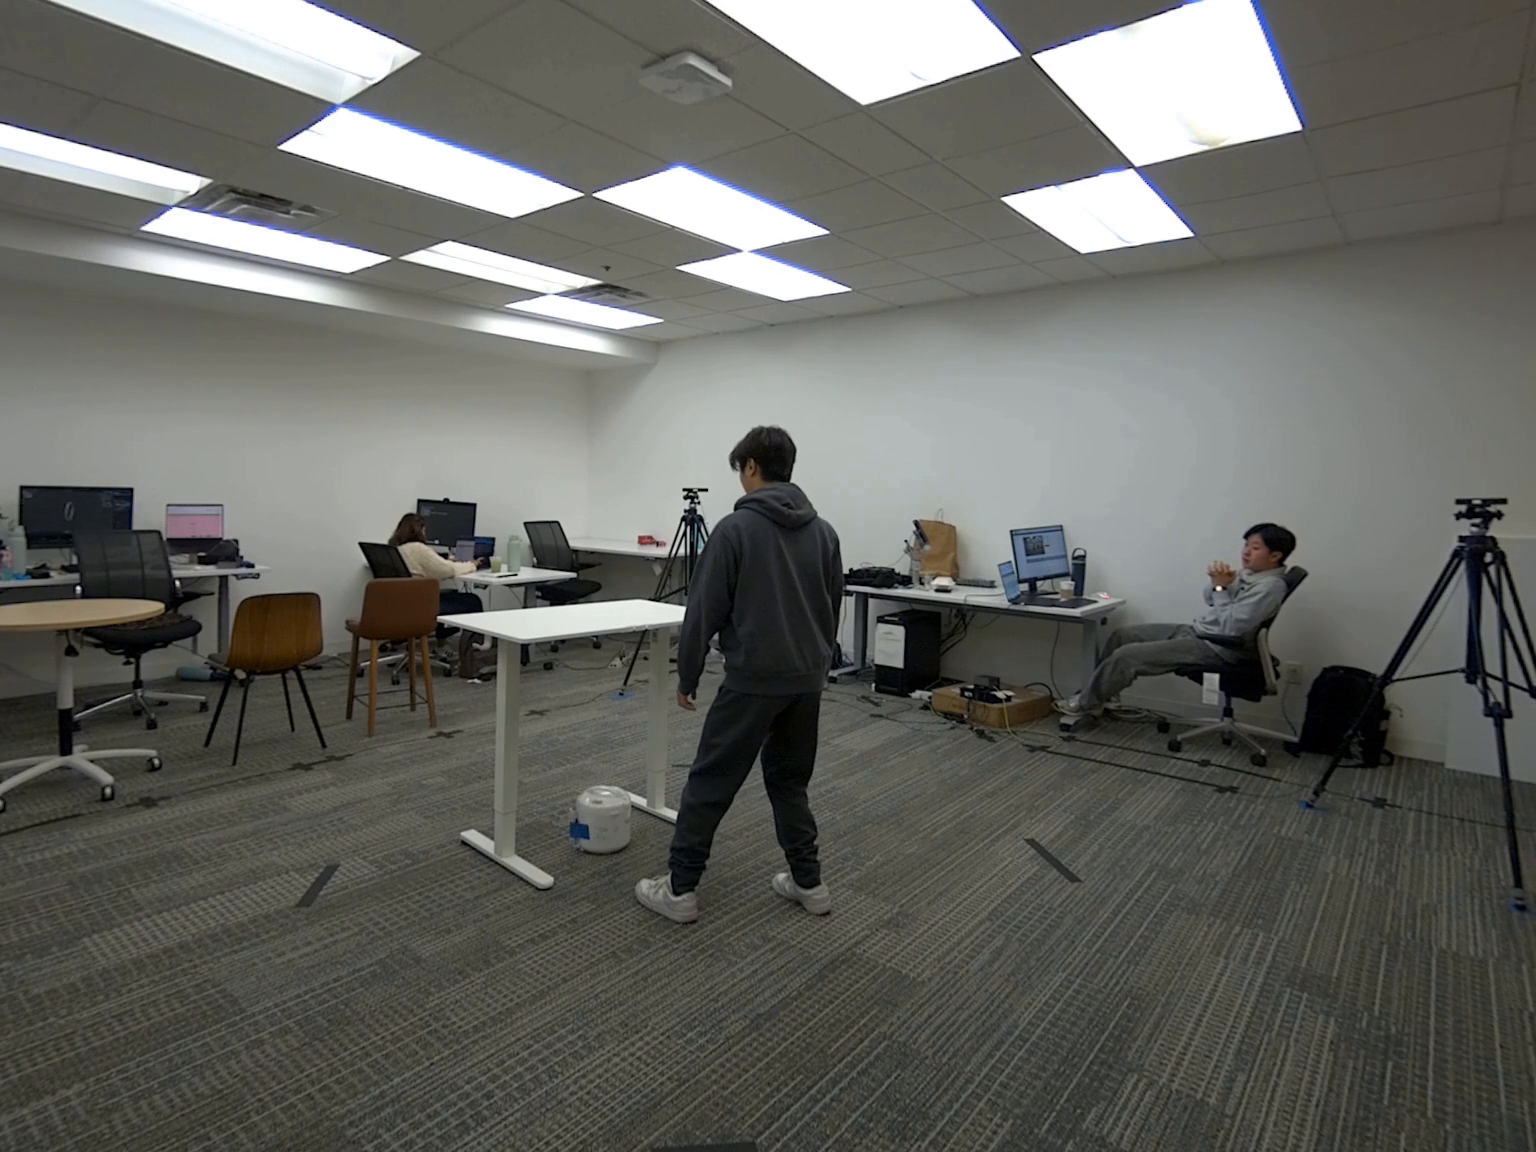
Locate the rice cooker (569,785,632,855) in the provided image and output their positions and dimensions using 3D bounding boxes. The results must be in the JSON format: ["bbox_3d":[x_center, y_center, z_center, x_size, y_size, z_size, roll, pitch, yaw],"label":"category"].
[{"bbox_3d":[-0.646,0.925,3.299,0.226,0.232,0.213,3,5,21],"label":"rice cooker"}]
